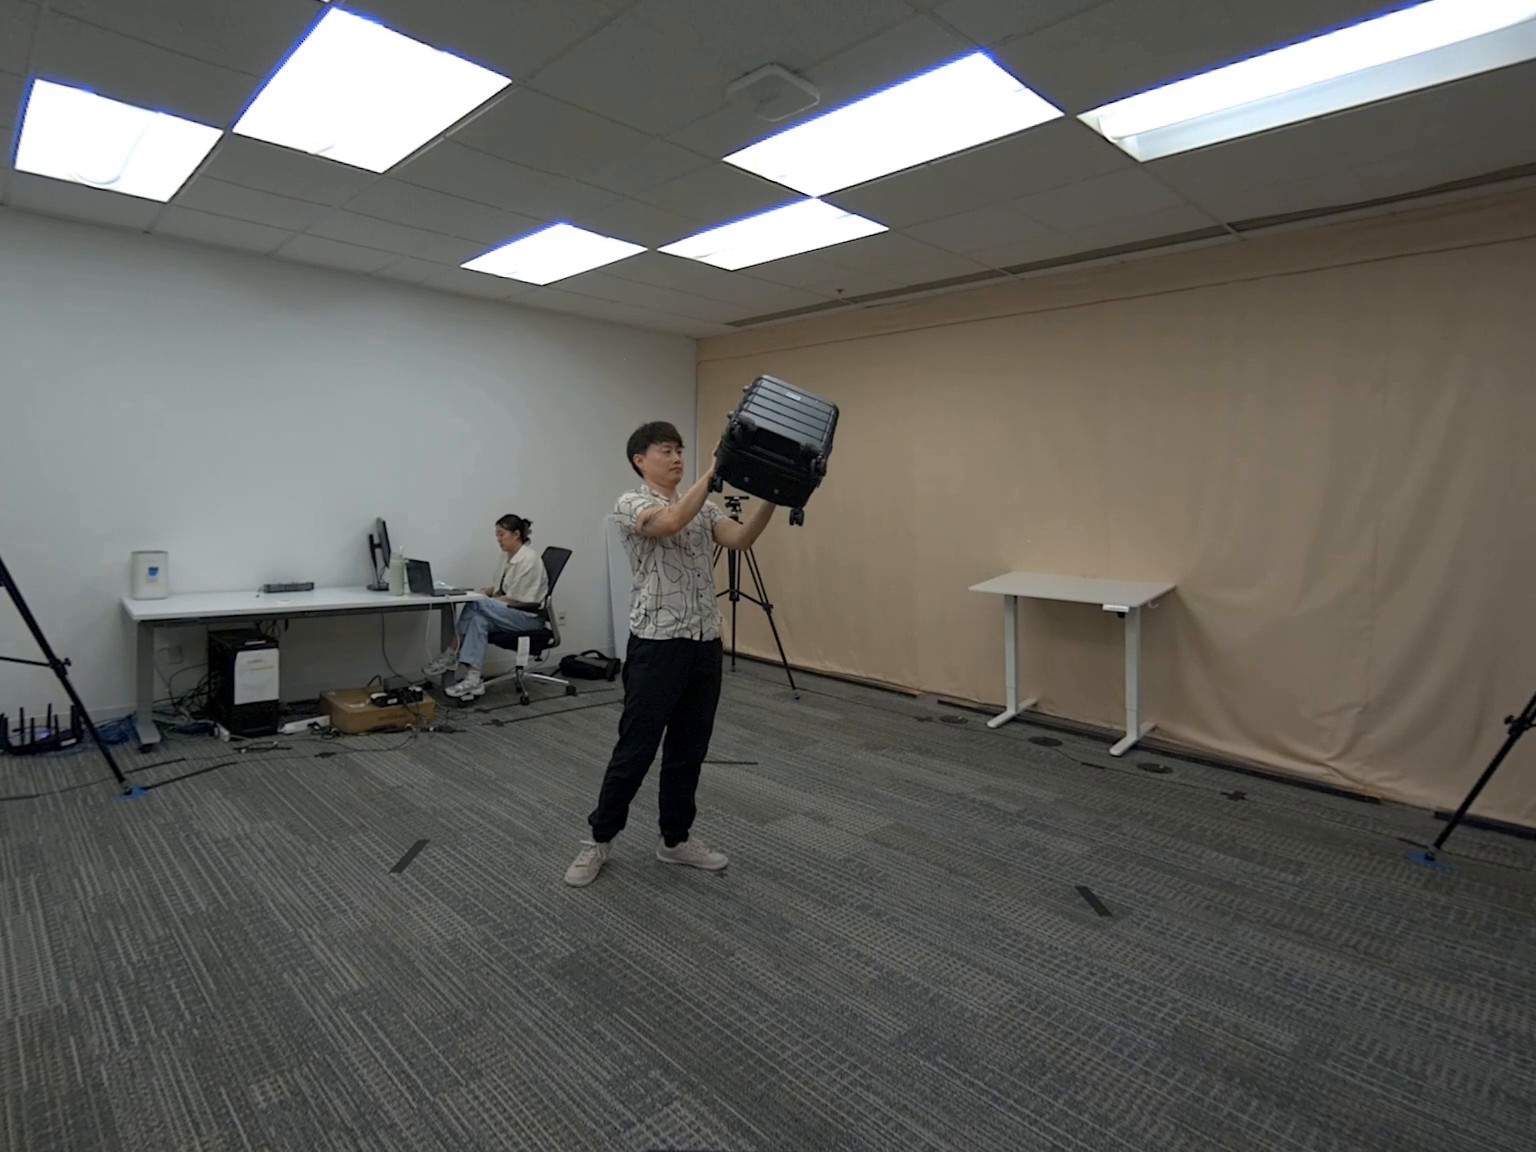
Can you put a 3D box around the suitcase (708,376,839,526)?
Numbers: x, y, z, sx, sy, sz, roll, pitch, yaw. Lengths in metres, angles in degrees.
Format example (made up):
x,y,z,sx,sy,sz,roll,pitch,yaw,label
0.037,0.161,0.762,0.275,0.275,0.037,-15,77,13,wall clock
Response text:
x,y,z,sx,sy,sz,roll,pitch,yaw,label
0.035,-0.475,2.933,0.376,0.245,0.554,22,33,1,suitcase
